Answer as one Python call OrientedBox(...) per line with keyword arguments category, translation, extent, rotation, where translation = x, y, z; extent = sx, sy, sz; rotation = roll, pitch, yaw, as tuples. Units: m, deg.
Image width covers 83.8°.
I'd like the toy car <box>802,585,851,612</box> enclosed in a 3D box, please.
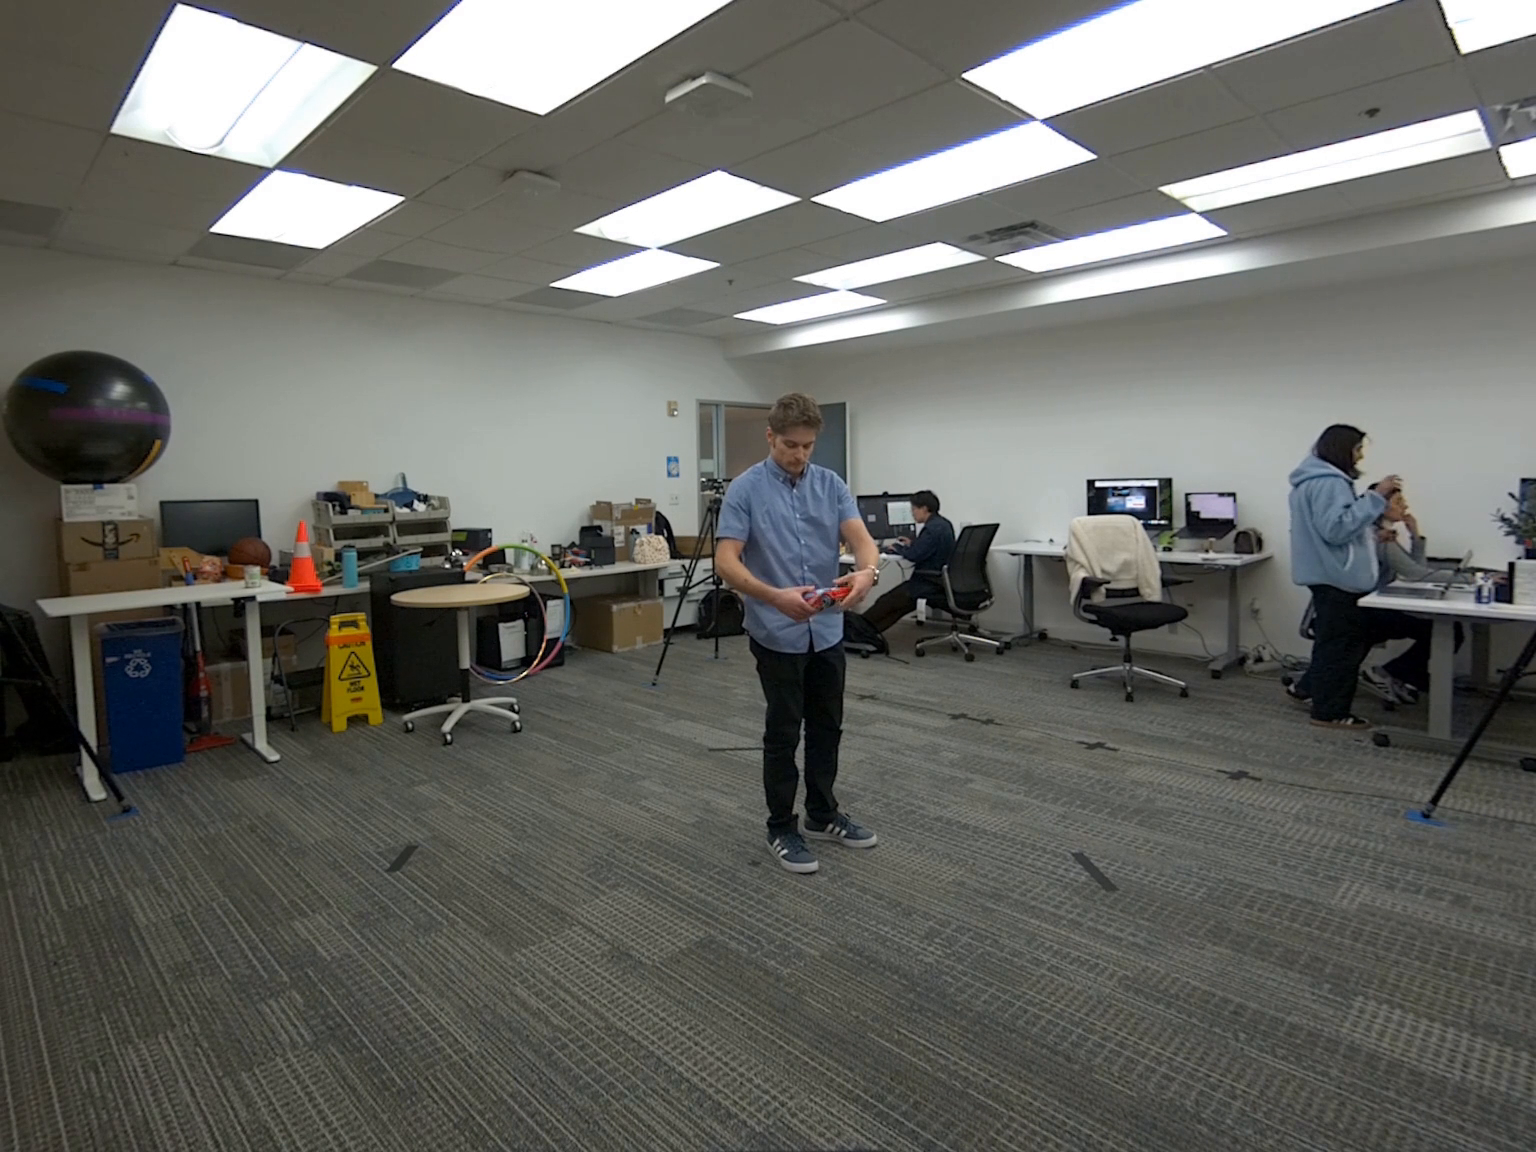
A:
OrientedBox(category="toy car", translation=(0.188, 0.093, 2.823), extent=(0.127, 0.083, 0.261), rotation=(-8, 2, -44))
